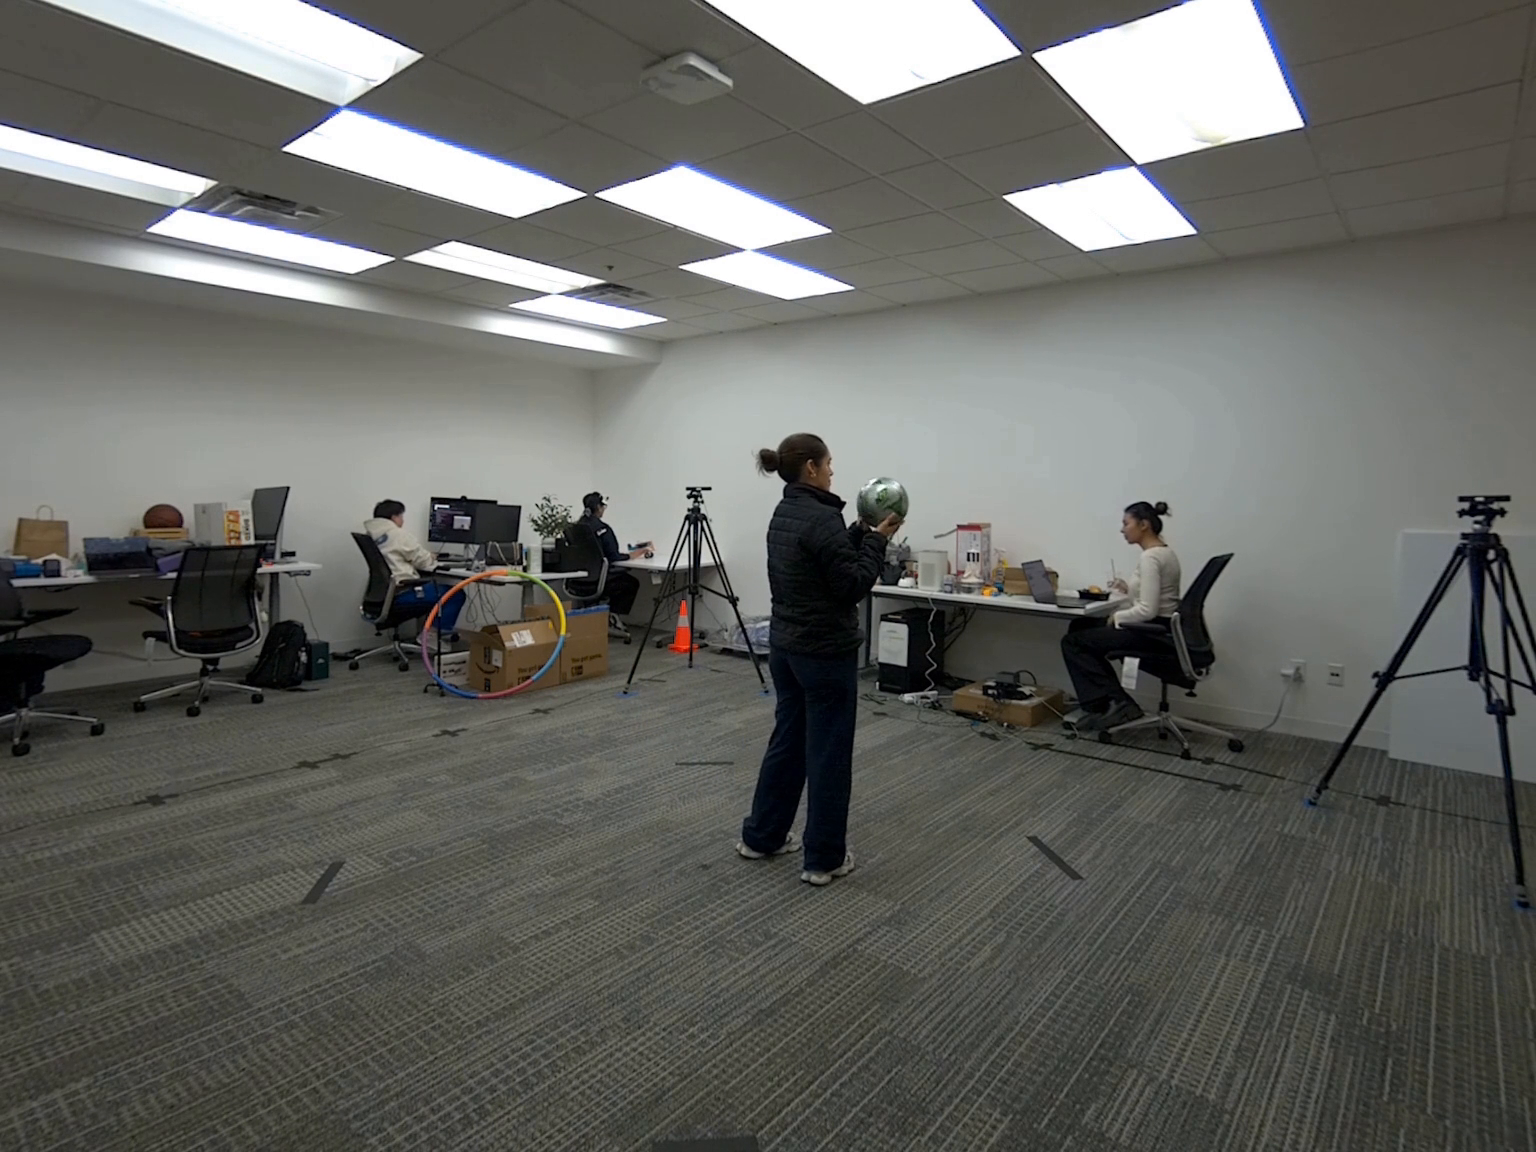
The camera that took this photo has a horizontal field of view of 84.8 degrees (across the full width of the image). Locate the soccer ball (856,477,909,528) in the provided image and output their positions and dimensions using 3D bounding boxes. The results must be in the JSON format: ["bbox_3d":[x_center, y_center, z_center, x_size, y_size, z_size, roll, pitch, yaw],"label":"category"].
[{"bbox_3d":[0.407,-0.269,3.099,0.187,0.187,0.188,1,4,-2],"label":"soccer ball"}]
